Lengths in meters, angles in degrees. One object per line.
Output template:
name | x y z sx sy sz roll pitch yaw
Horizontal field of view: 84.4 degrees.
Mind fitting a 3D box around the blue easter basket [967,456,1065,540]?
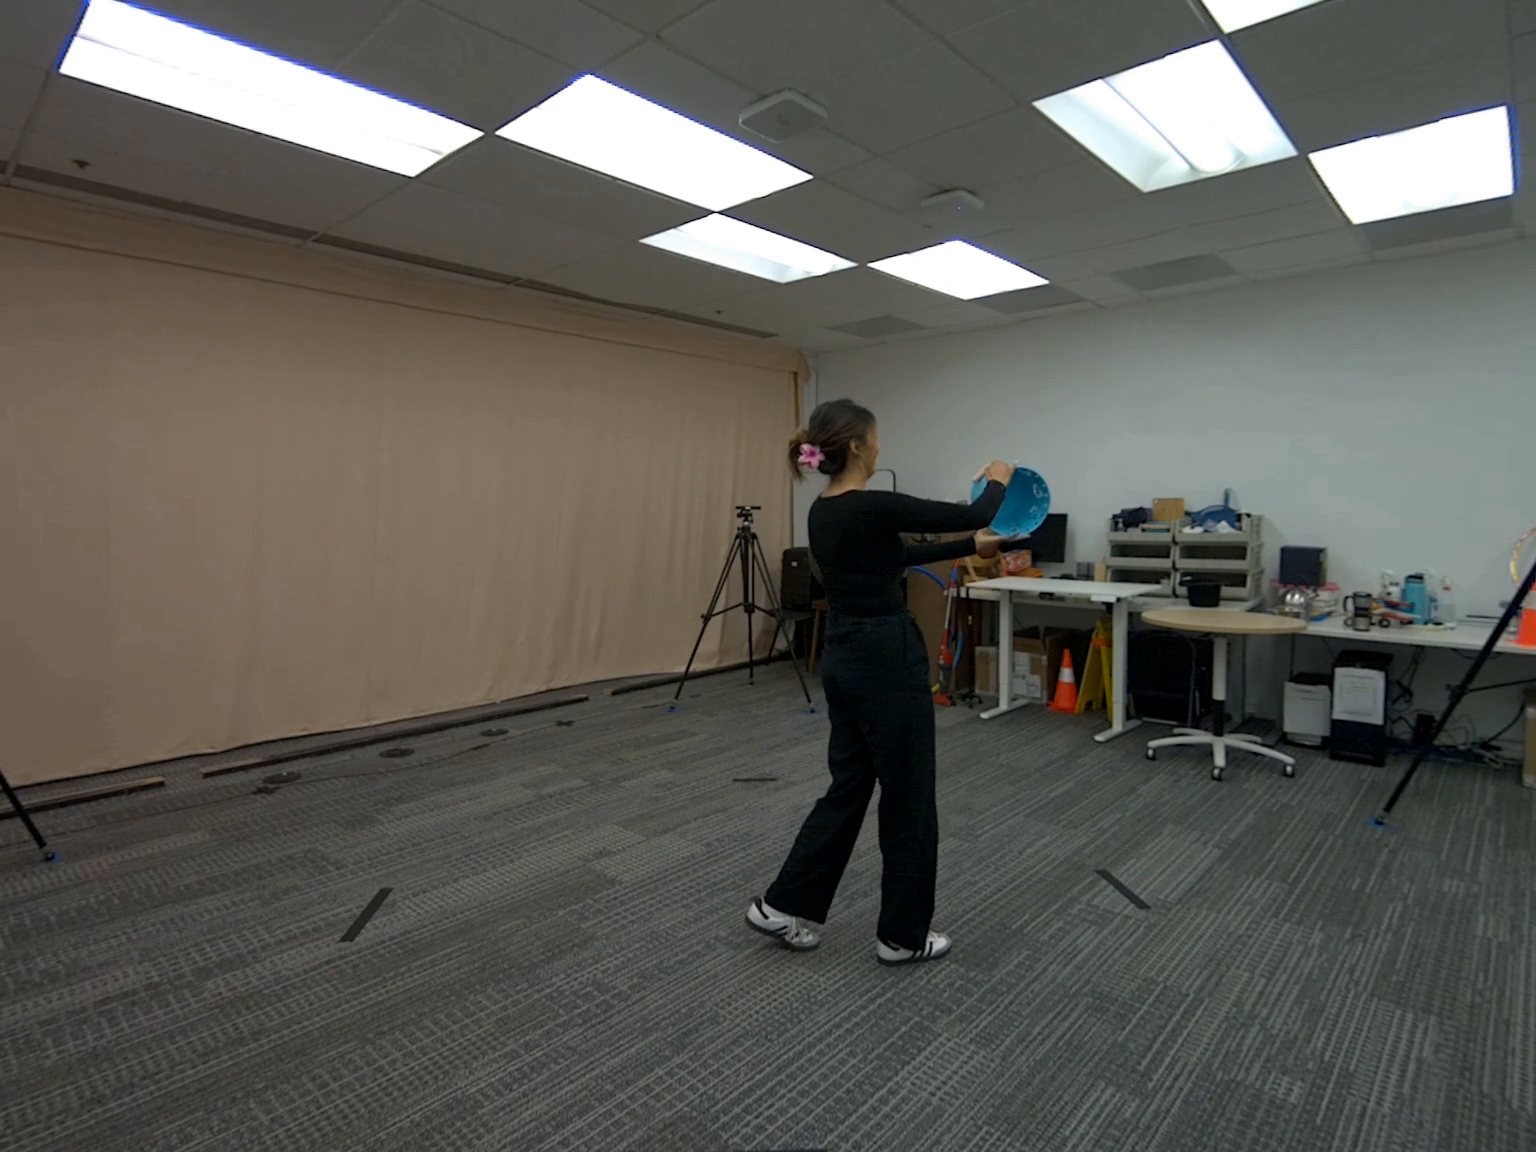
blue easter basket | 0.801 -0.259 2.775 0.242 0.241 0.158 0 15 -4
